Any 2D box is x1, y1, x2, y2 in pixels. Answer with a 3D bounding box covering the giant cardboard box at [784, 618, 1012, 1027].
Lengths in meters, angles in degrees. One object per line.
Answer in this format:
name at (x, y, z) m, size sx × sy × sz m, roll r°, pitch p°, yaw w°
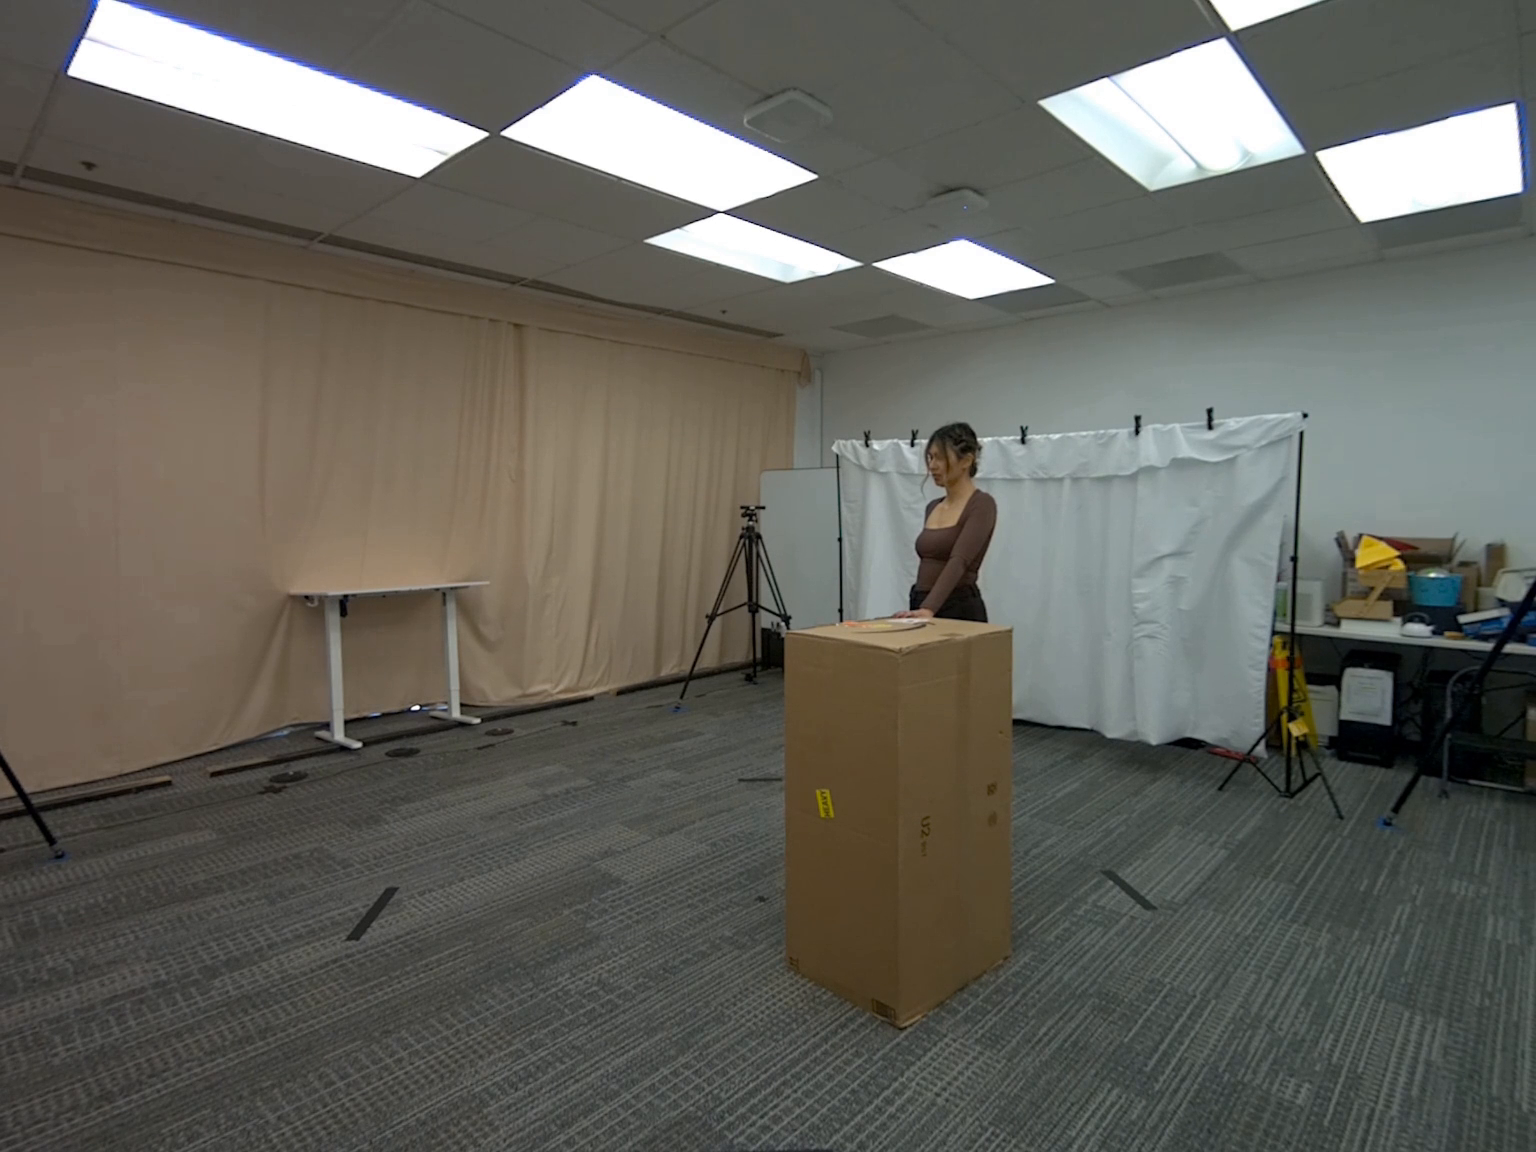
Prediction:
giant cardboard box at (0.404, 0.670, 2.553) m, size 0.566 × 1.025 × 0.461 m, roll -3°, pitch 3°, yaw -41°
